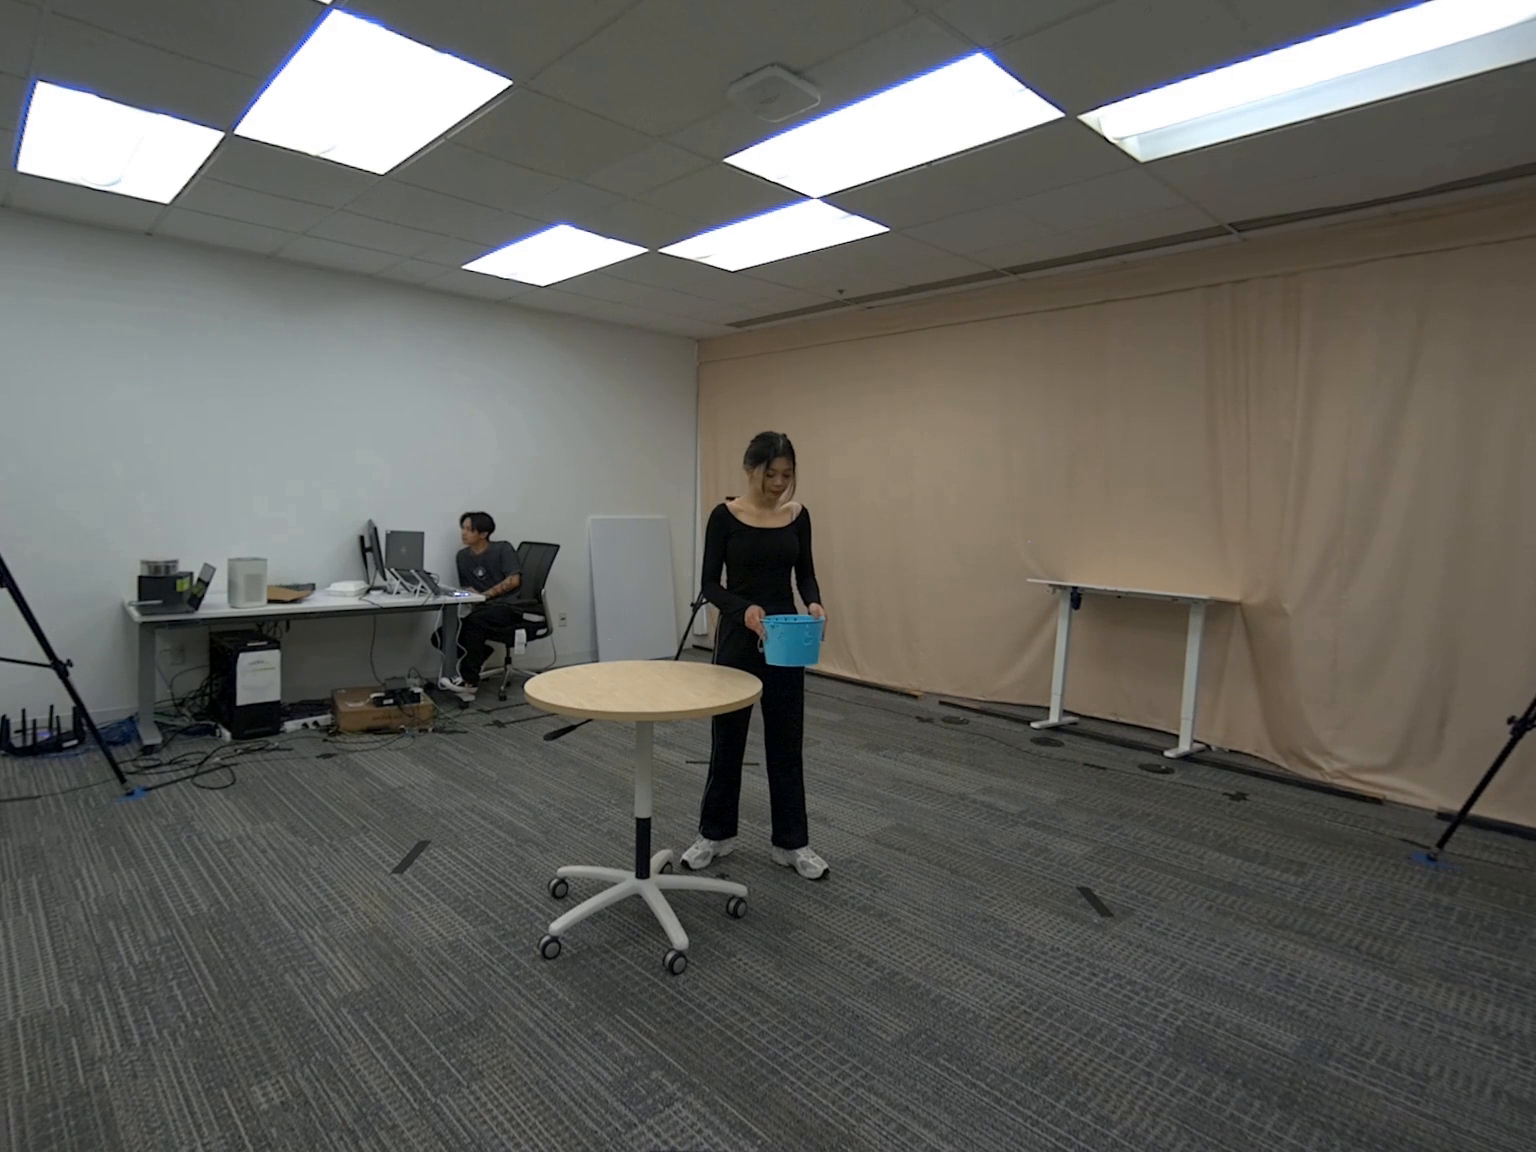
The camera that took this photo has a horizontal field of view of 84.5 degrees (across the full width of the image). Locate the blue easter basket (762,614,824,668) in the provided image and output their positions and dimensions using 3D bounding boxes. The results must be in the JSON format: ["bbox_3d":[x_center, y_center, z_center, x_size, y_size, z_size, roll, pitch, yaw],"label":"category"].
[{"bbox_3d":[0.061,0.228,2.900,0.243,0.156,0.244,0,2,-1],"label":"blue easter basket"}]
